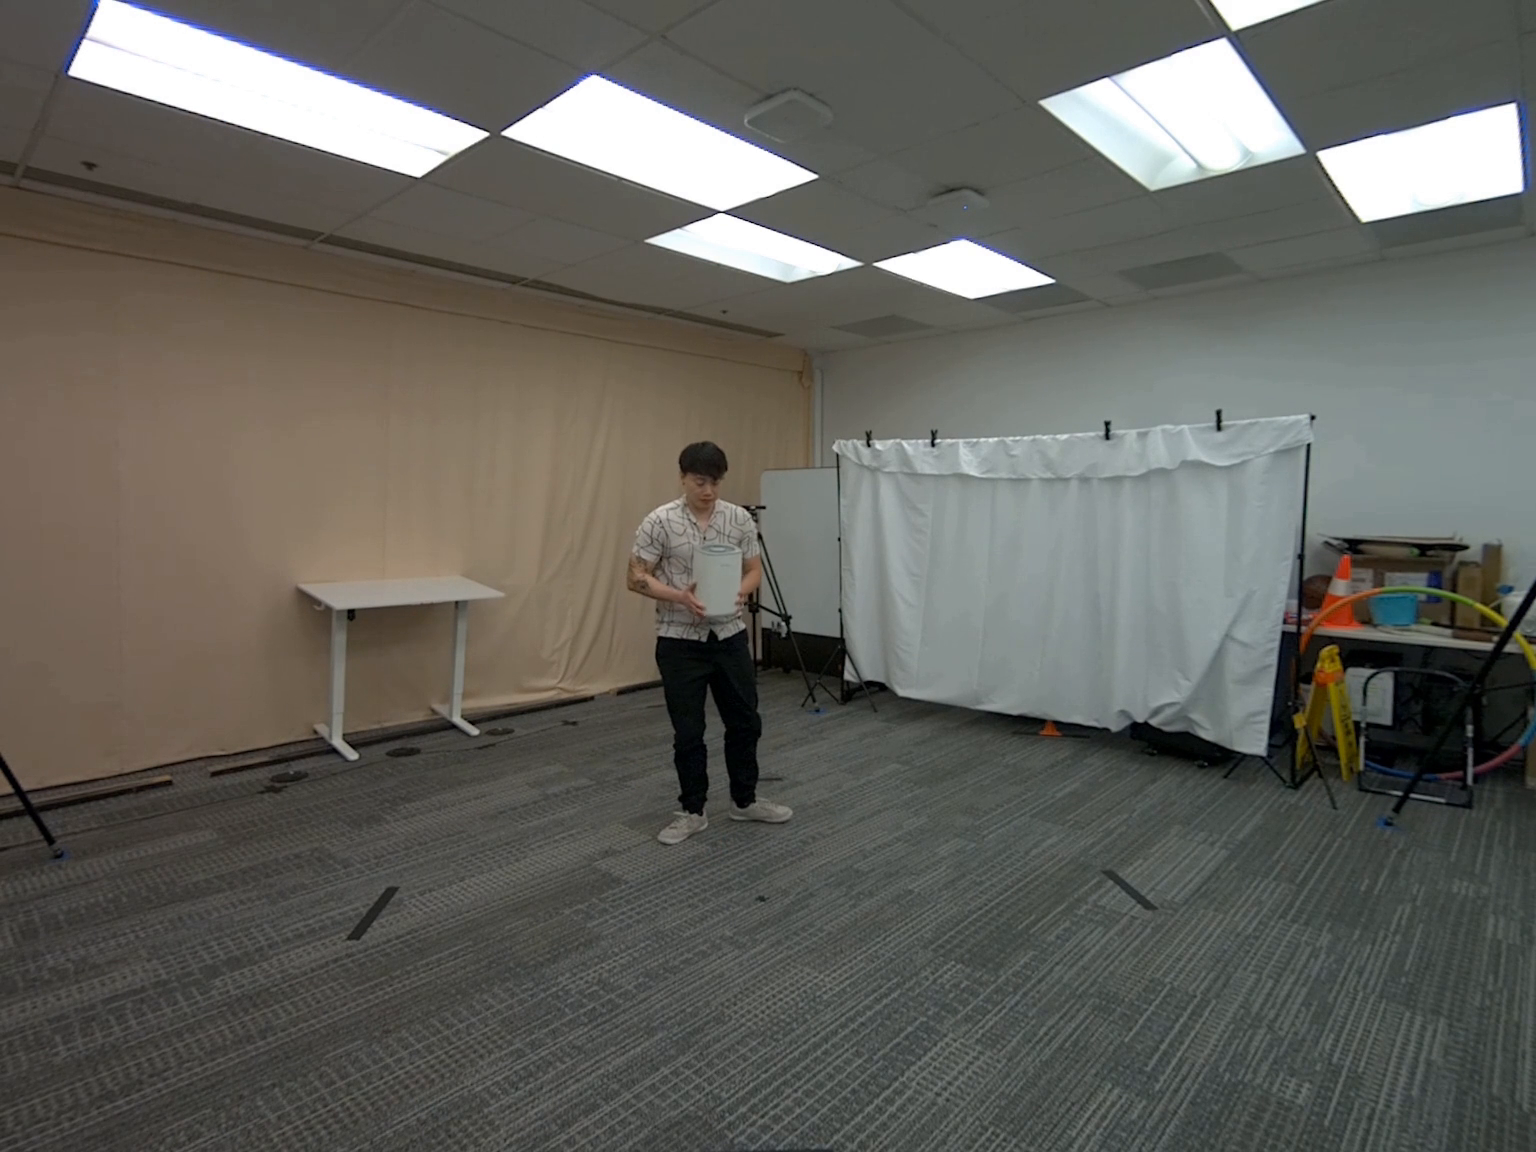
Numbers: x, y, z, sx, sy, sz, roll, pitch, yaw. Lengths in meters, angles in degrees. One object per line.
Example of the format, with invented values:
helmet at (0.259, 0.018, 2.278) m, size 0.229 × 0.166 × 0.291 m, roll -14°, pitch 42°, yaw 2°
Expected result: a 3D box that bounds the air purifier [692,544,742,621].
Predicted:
air purifier at (-0.192, 0.018, 3.346) m, size 0.168 × 0.263 × 0.176 m, roll -2°, pitch 17°, yaw -21°
